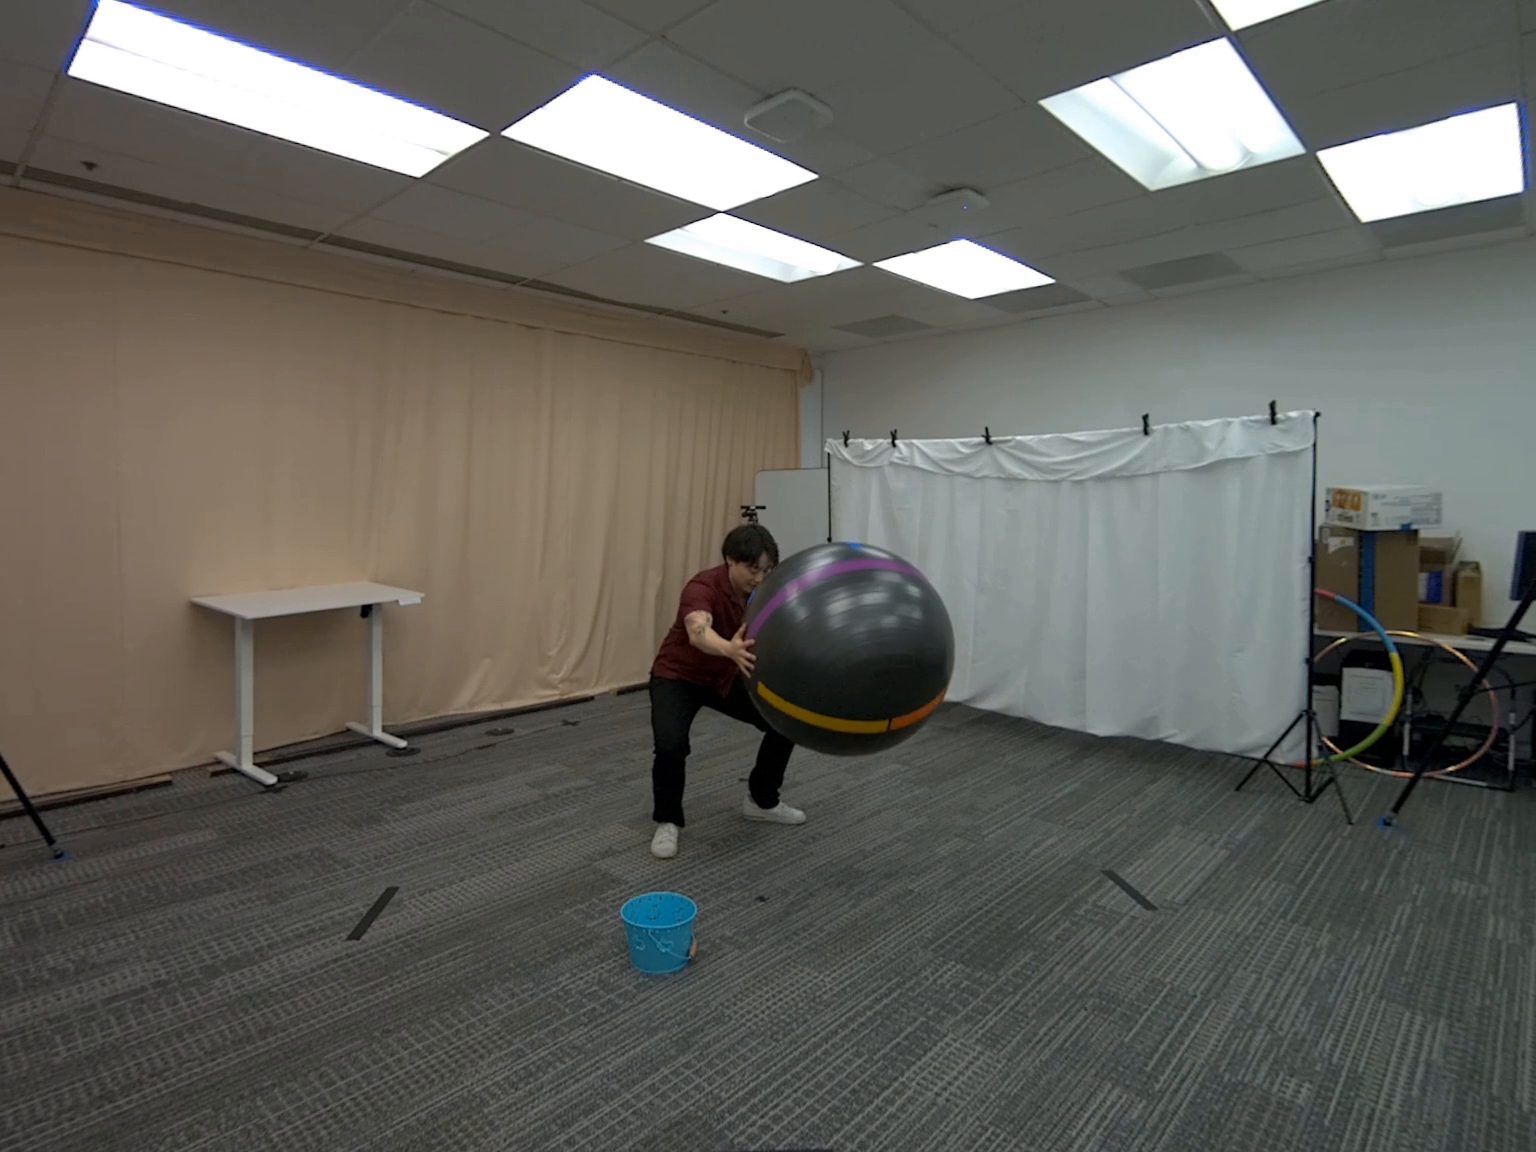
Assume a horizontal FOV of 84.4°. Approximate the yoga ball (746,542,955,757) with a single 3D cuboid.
[{"bbox_3d":[0.279,0.262,3.008,0.757,0.756,0.760,0,4,-2],"label":"yoga ball"}]
